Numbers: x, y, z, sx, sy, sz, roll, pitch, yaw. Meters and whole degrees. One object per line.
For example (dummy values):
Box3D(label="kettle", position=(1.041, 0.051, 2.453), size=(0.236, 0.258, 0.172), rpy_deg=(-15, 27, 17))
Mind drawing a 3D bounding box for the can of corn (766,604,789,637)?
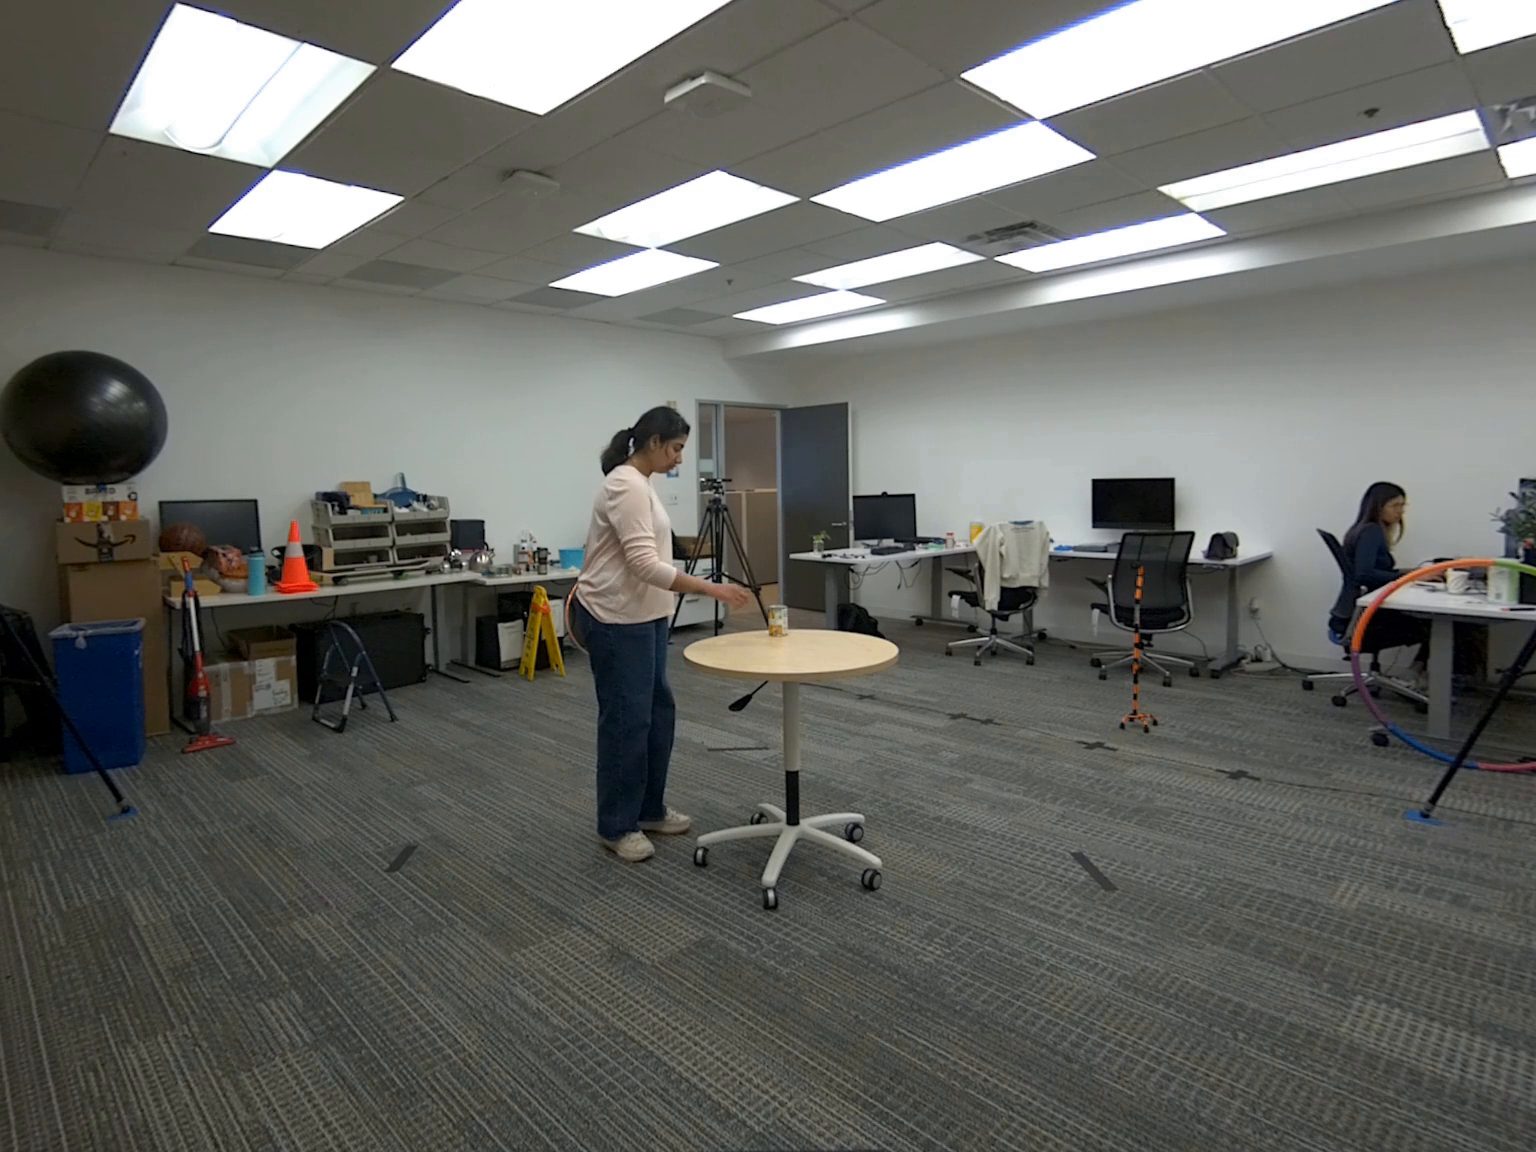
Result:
Box3D(label="can of corn", position=(0.037, 0.176, 3.332), size=(0.074, 0.111, 0.074), rpy_deg=(-5, 3, -1))
